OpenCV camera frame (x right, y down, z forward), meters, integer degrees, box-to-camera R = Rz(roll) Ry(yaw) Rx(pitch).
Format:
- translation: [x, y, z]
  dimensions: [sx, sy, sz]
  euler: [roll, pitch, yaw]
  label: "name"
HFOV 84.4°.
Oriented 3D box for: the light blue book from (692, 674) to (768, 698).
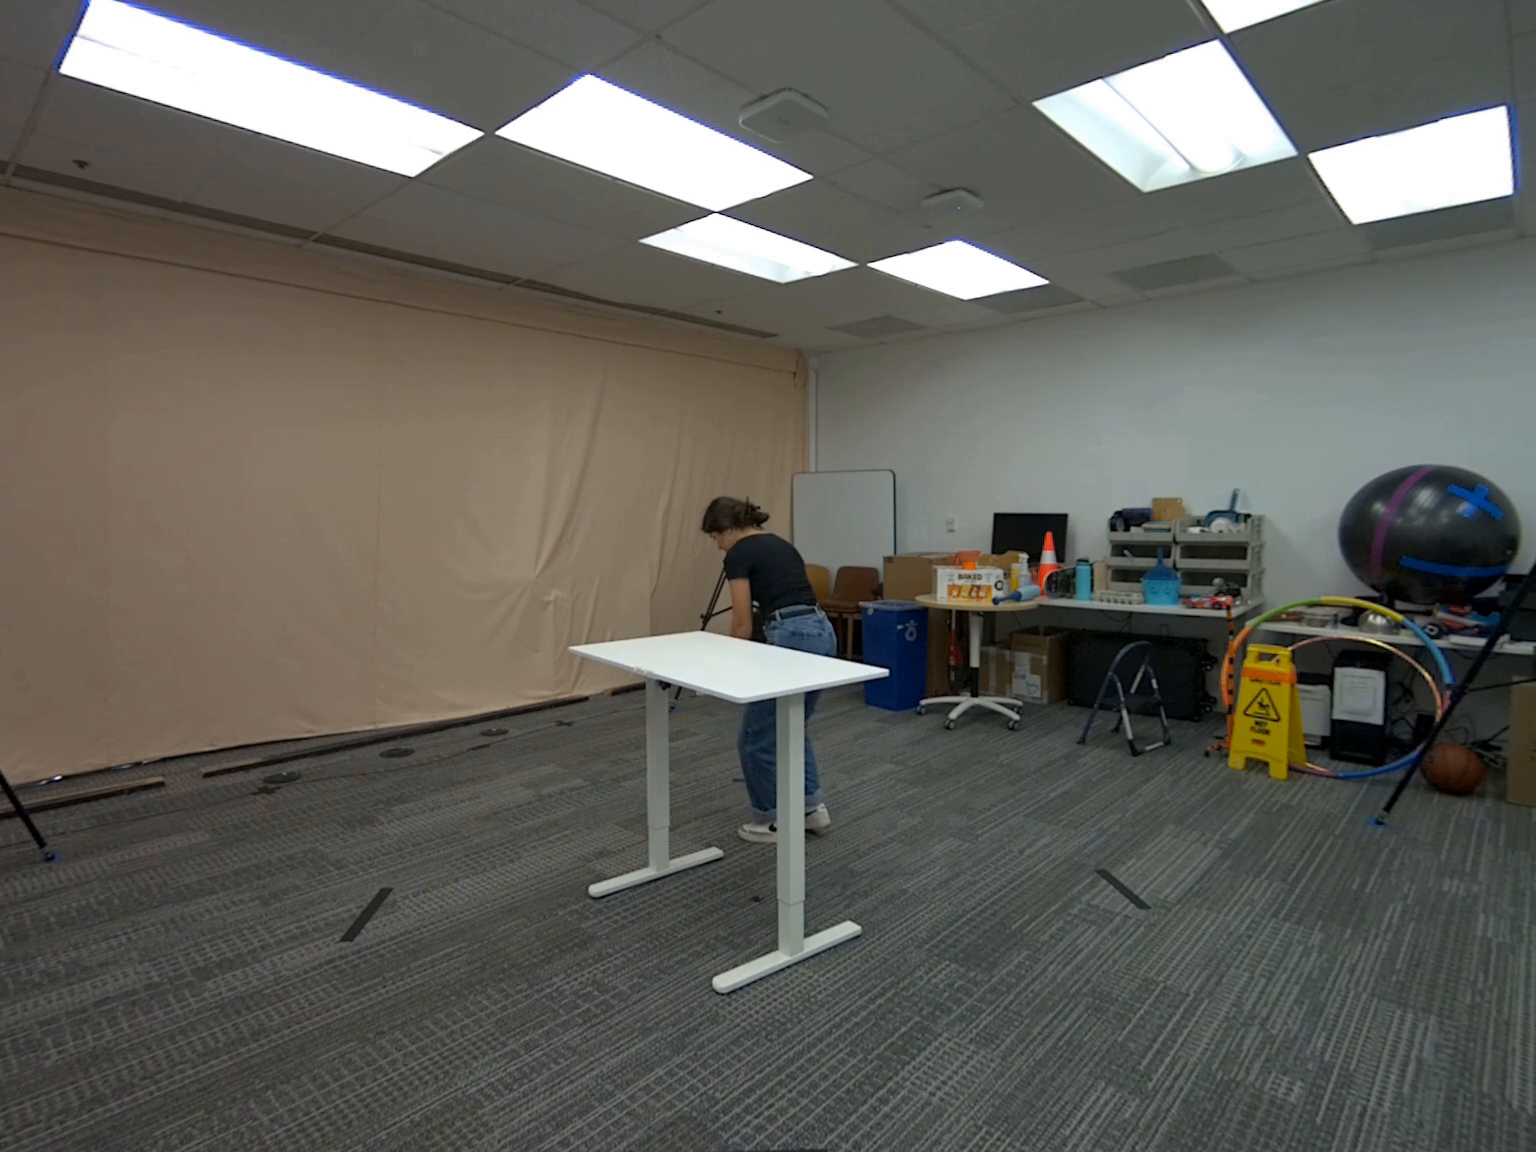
- translation: [-0.167, 0.479, 3.710]
  dimensions: [0.268, 0.059, 0.186]
  euler: [-10, -4, 35]
  label: "light blue book"
